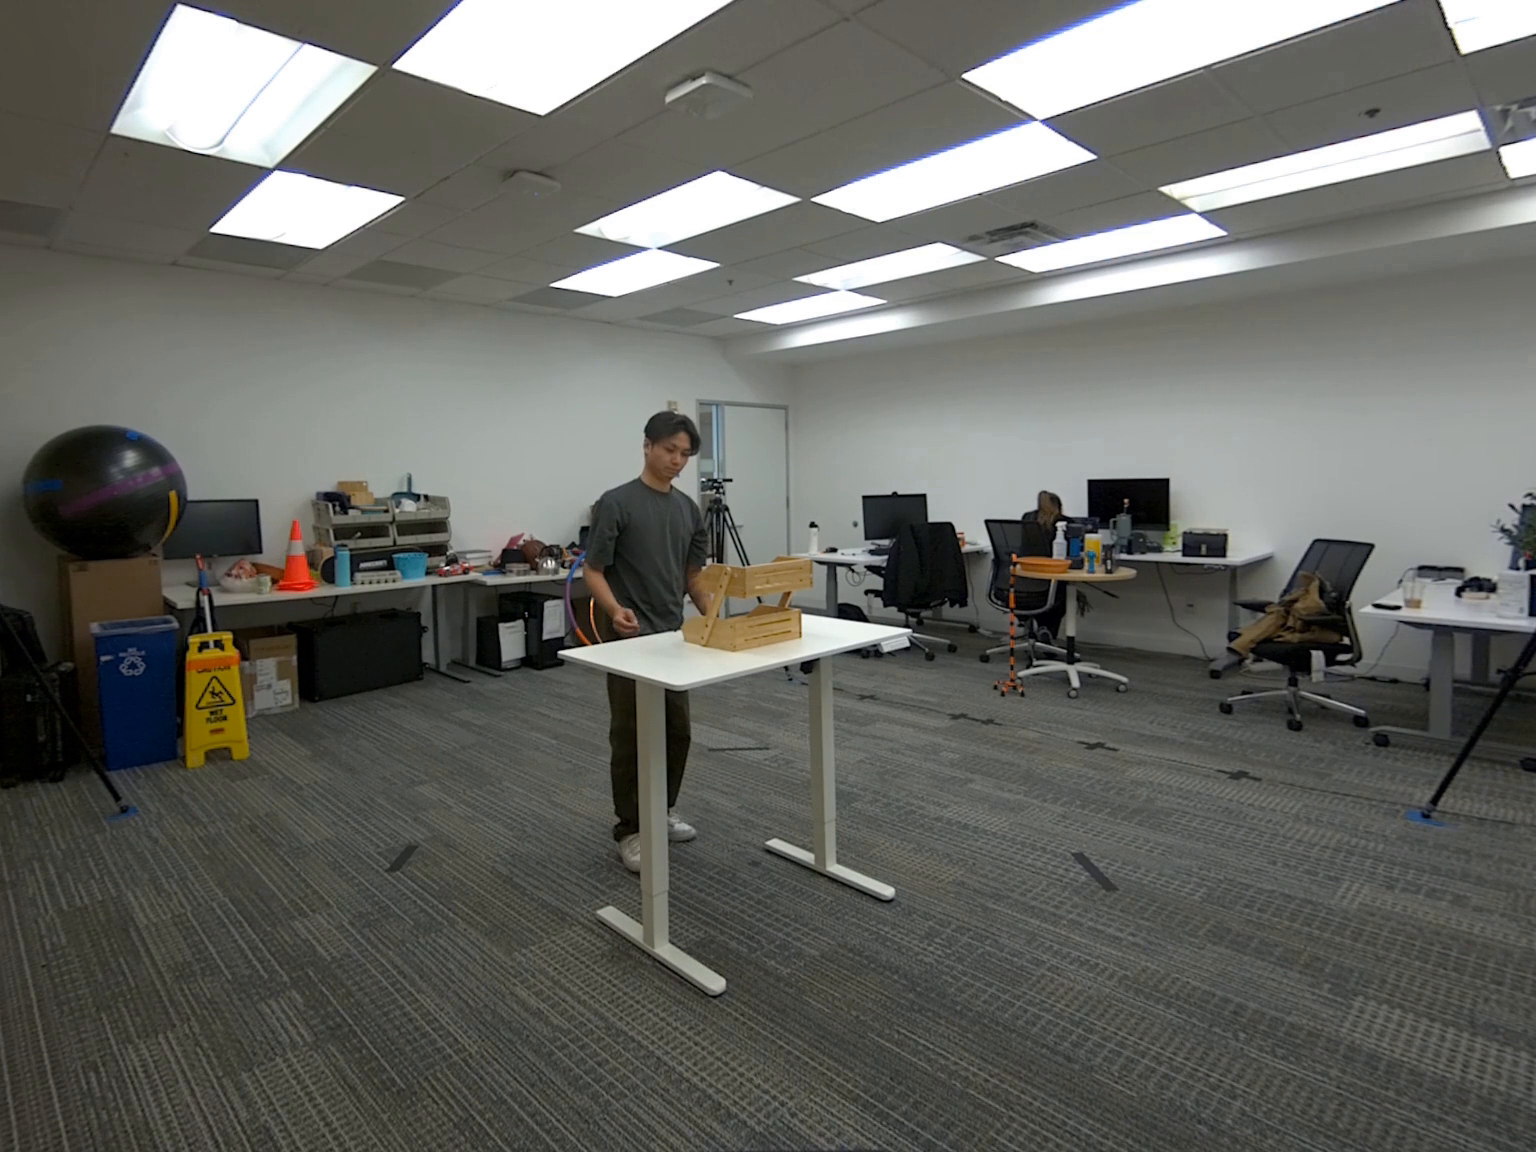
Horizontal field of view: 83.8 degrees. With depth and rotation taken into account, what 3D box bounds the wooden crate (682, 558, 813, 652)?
[{"bbox_3d":[-0.067,0.076,2.722,0.316,0.272,0.311,-7,8,-43],"label":"wooden crate"}]
